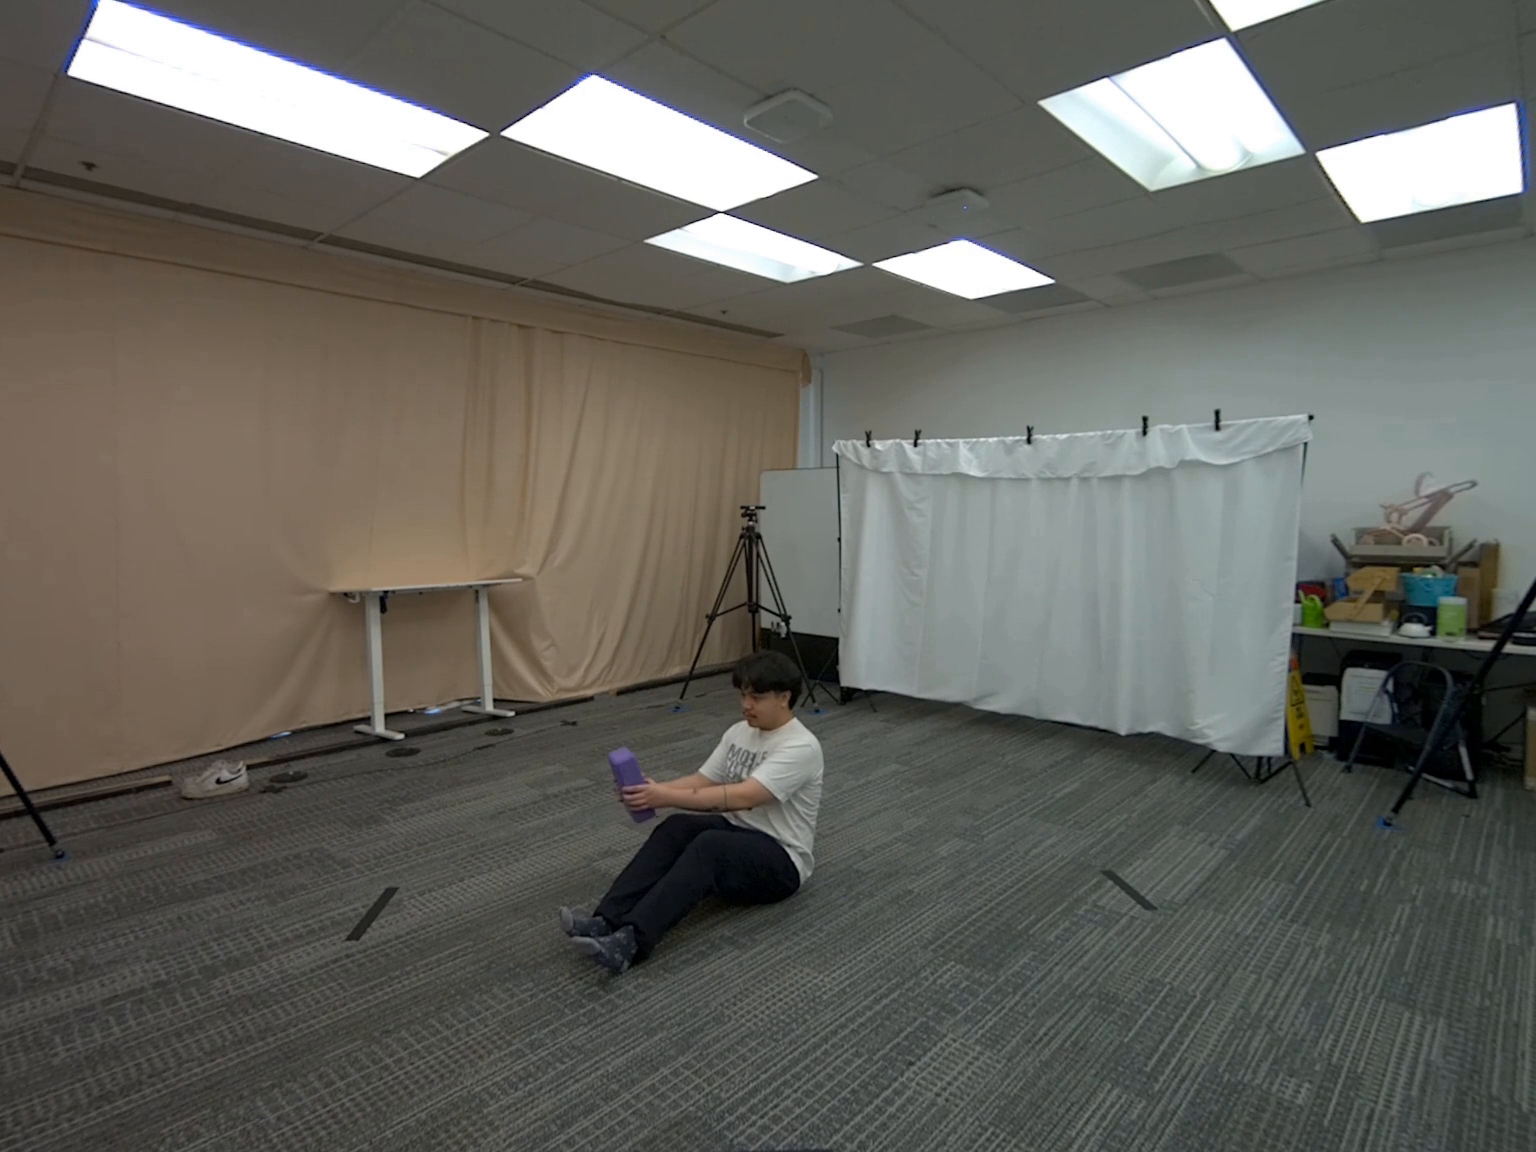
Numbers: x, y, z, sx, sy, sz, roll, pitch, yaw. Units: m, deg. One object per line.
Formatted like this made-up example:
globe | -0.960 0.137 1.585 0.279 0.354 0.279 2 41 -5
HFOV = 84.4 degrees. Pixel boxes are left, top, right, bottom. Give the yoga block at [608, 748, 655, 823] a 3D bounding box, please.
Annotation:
yoga block | -0.465 0.722 2.908 0.075 0.228 0.152 -19 7 -17
